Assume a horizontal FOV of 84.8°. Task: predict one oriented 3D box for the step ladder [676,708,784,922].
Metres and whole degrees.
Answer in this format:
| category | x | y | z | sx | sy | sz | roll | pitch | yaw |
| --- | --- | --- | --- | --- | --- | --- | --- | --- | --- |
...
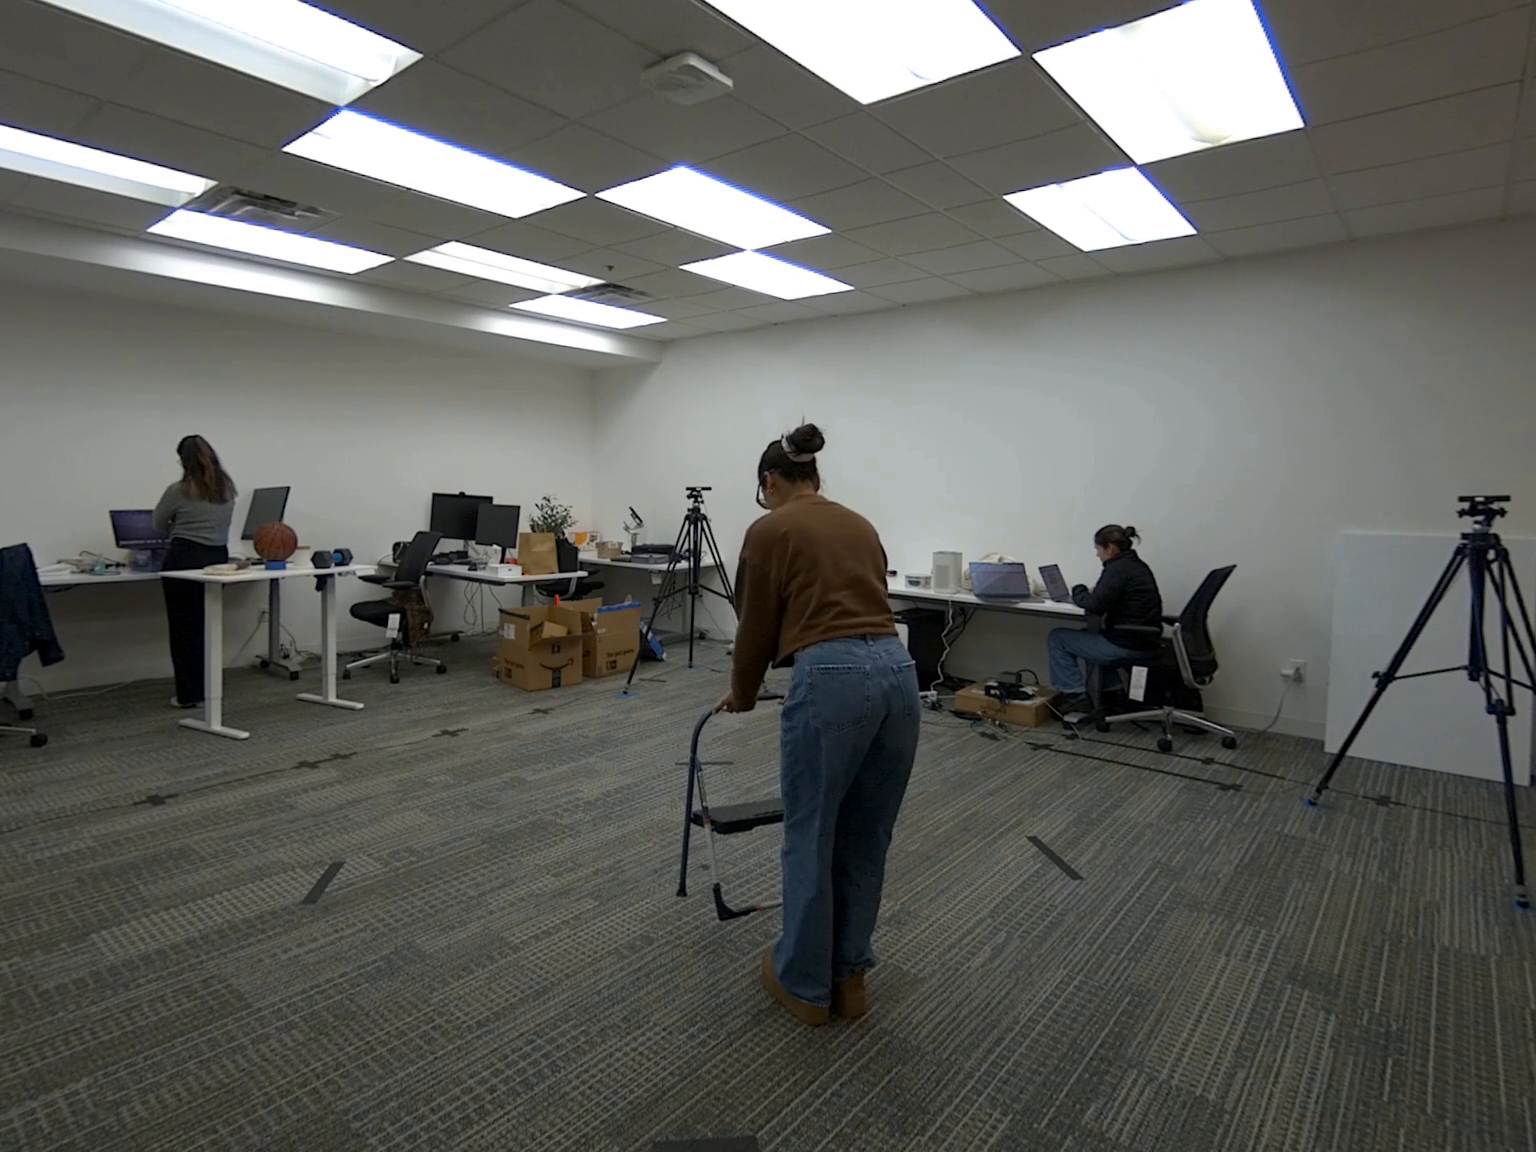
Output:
| category | x | y | z | sx | sy | sz | roll | pitch | yaw |
| --- | --- | --- | --- | --- | --- | --- | --- | --- | --- |
| step ladder | -0.062 | 0.674 | 2.639 | 0.420 | 0.611 | 0.355 | -2 | -7 | -26 |
